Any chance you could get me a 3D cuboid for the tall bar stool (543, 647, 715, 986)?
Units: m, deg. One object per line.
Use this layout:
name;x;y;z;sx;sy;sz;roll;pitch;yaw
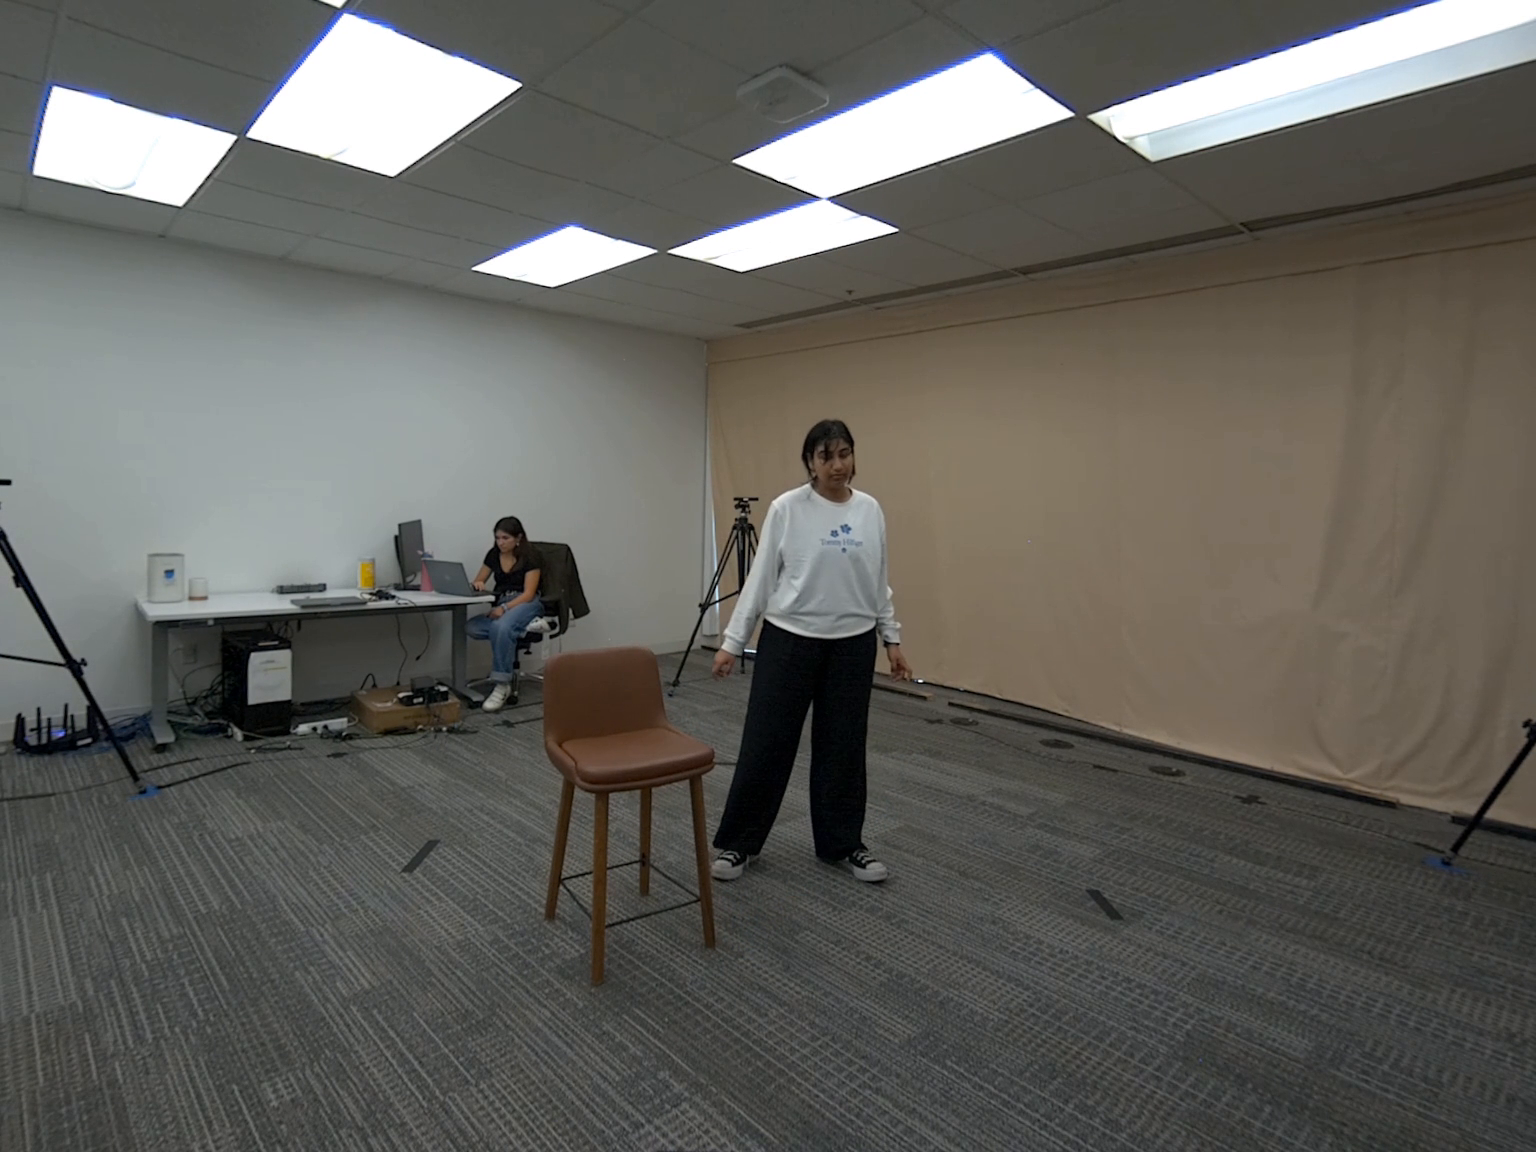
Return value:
tall bar stool;-0.456;0.708;2.660;0.447;0.889;0.478;-1;2;-34
